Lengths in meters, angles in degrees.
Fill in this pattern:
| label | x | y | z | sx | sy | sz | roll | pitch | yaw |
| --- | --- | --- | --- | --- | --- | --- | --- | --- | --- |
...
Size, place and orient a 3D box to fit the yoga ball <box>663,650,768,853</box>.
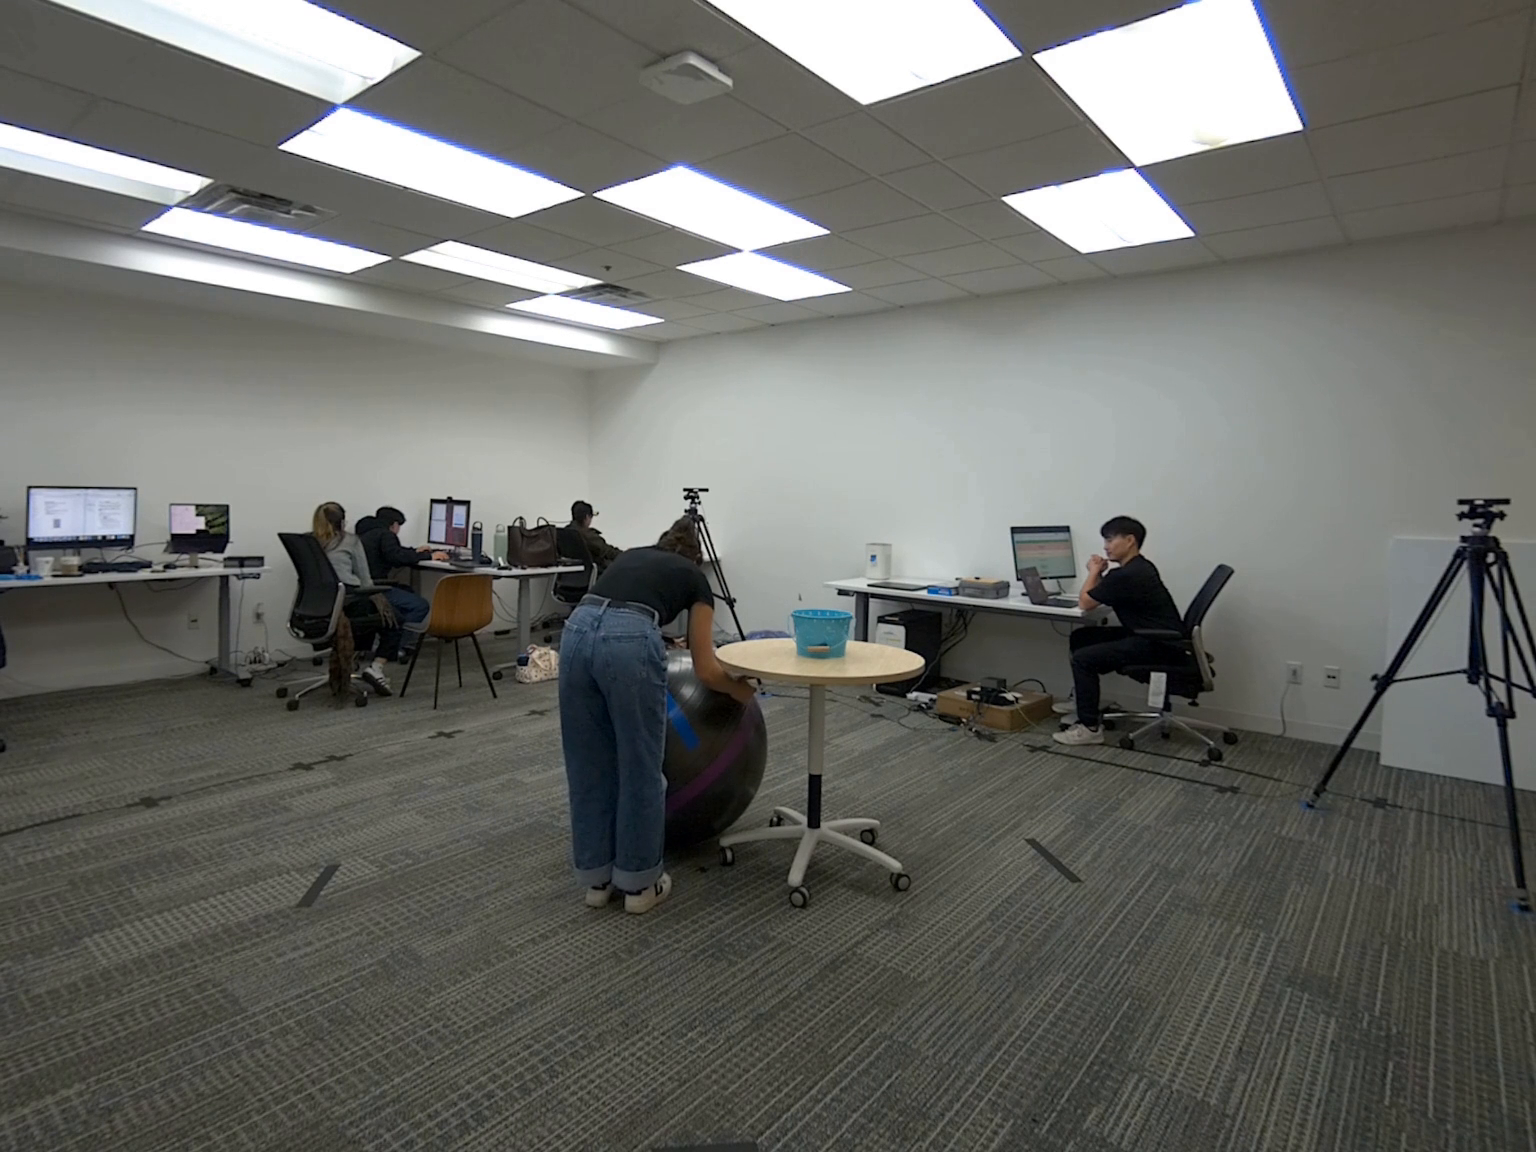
| label | x | y | z | sx | sy | sz | roll | pitch | yaw |
| --- | --- | --- | --- | --- | --- | --- | --- | --- | --- |
| yoga ball | -0.396 | 0.677 | 3.369 | 0.757 | 0.755 | 0.762 | 1 | 4 | -2 |
